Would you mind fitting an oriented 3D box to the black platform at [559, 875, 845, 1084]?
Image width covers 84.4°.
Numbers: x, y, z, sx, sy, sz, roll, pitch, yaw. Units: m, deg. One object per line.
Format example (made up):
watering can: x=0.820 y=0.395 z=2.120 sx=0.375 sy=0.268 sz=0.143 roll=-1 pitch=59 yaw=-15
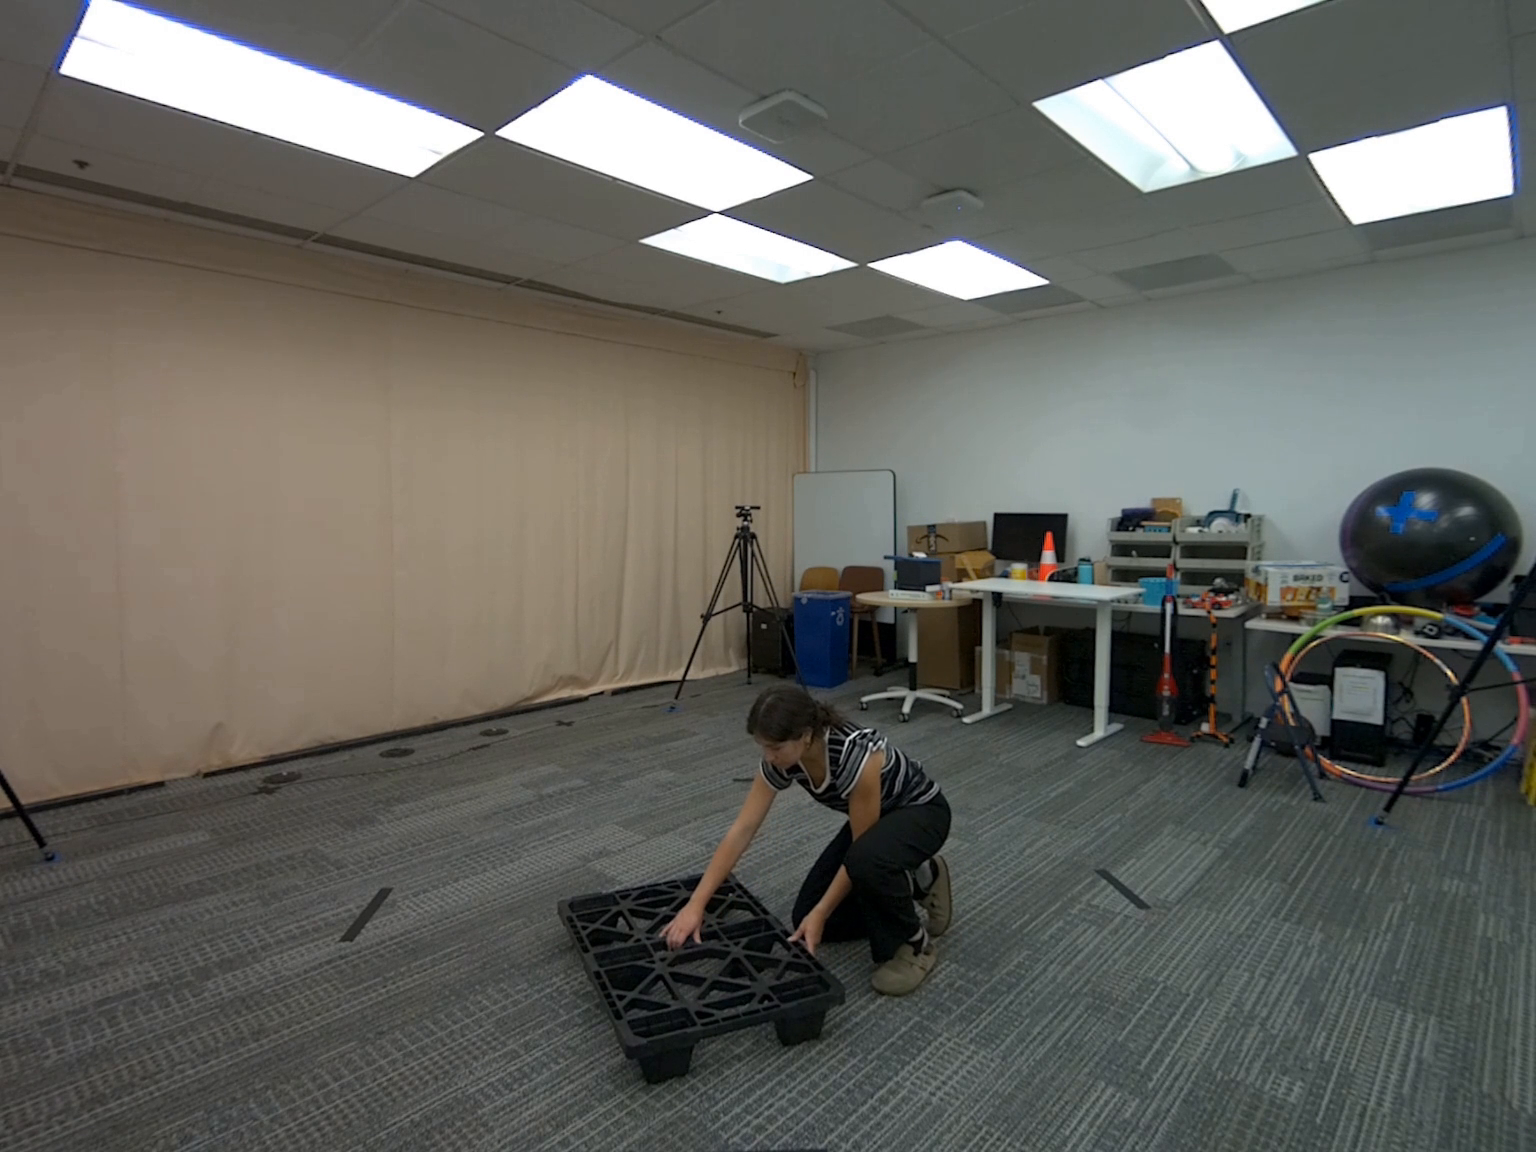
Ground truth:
black platform: x=-0.231 y=1.127 z=2.442 sx=0.591 sy=0.143 sz=0.826 roll=-3 pitch=5 yaw=-24
